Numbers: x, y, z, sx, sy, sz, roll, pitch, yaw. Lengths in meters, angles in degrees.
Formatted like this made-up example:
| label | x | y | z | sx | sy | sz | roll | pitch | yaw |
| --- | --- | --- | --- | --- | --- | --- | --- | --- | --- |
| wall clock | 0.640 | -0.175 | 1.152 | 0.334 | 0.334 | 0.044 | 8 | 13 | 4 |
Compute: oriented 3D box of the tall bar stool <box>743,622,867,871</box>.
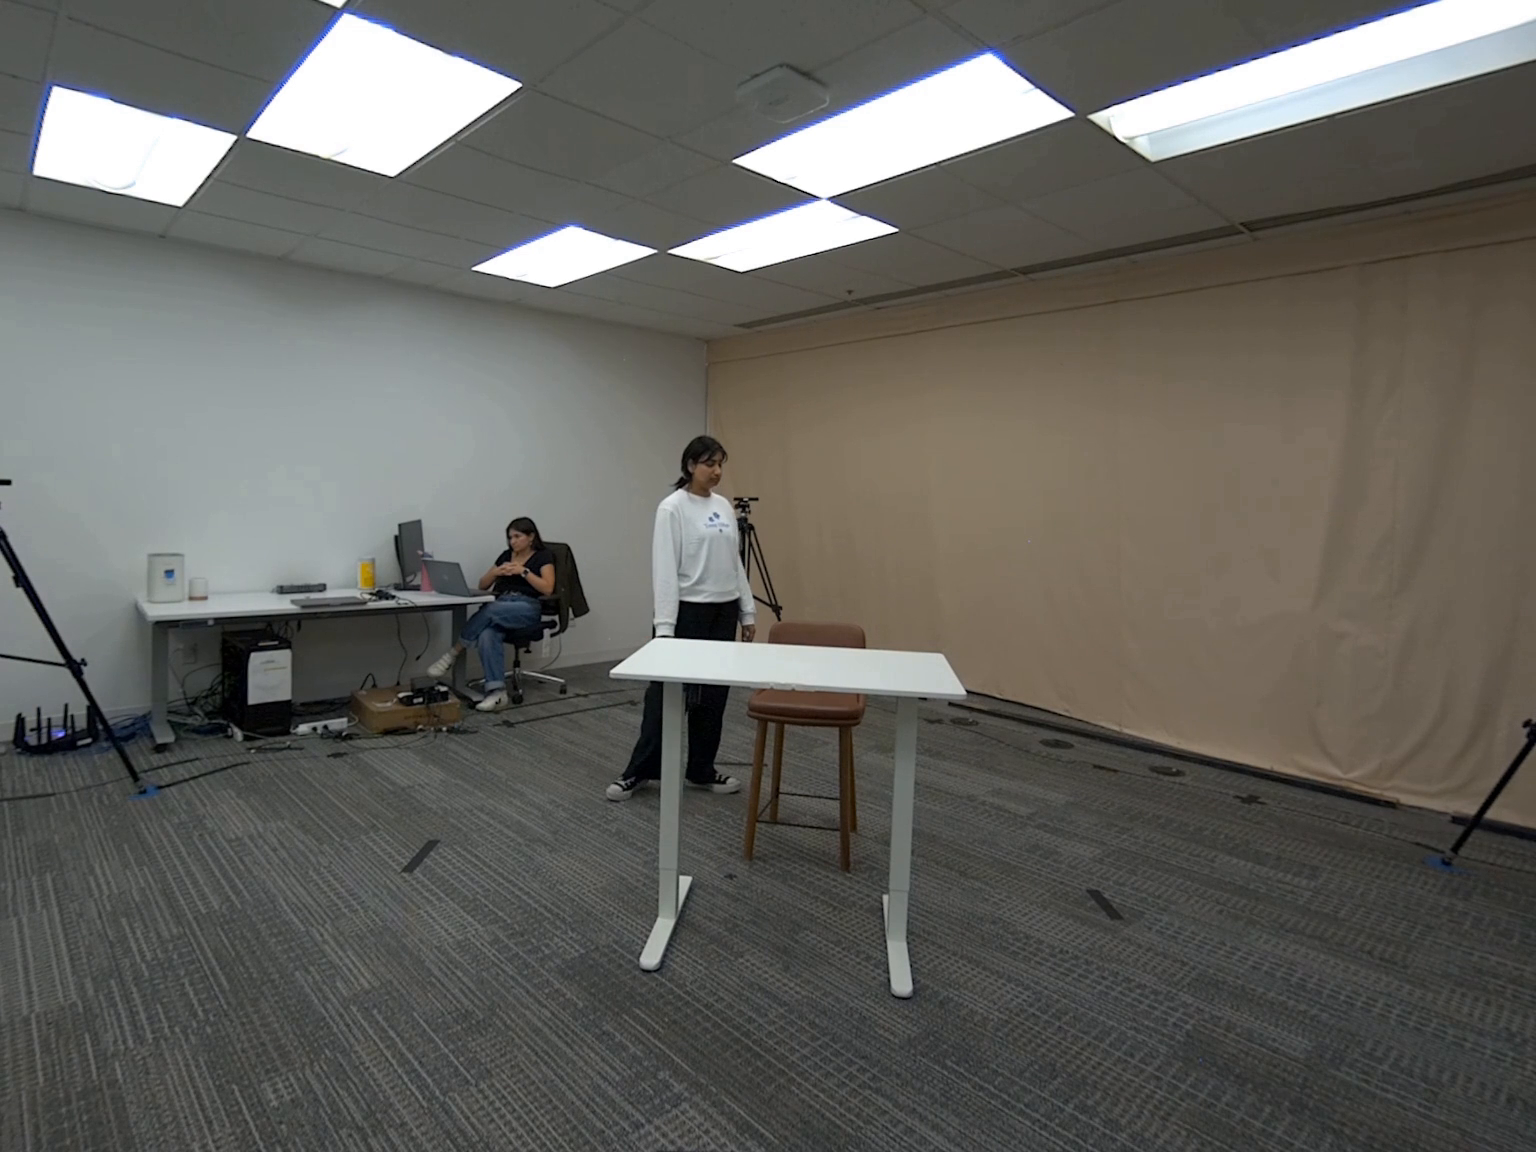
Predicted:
| label | x | y | z | sx | sy | sz | roll | pitch | yaw |
| --- | --- | --- | --- | --- | --- | --- | --- | --- | --- |
| tall bar stool | 0.155 | 0.655 | 3.400 | 0.462 | 0.889 | 0.462 | 2 | 1 | 14 |
